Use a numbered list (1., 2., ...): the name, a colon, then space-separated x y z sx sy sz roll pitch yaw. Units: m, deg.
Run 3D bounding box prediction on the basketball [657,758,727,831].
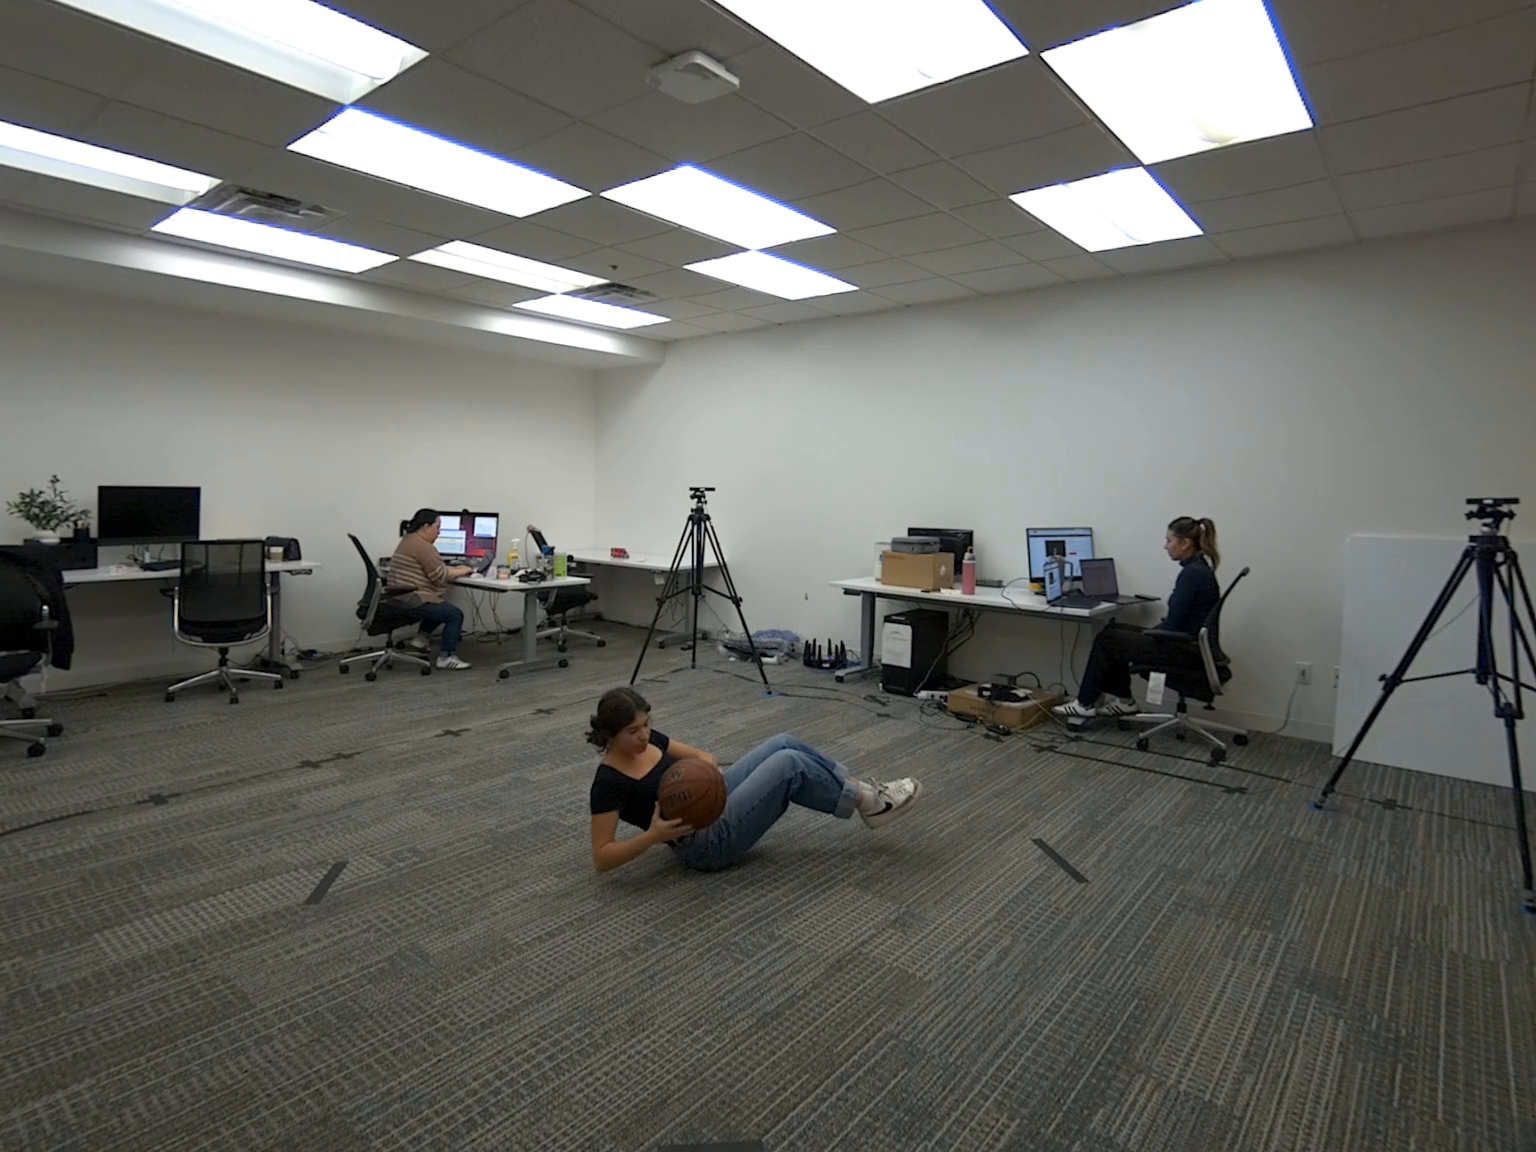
1. basketball: -0.278 0.754 2.943 0.235 0.235 0.237 1 4 -2
